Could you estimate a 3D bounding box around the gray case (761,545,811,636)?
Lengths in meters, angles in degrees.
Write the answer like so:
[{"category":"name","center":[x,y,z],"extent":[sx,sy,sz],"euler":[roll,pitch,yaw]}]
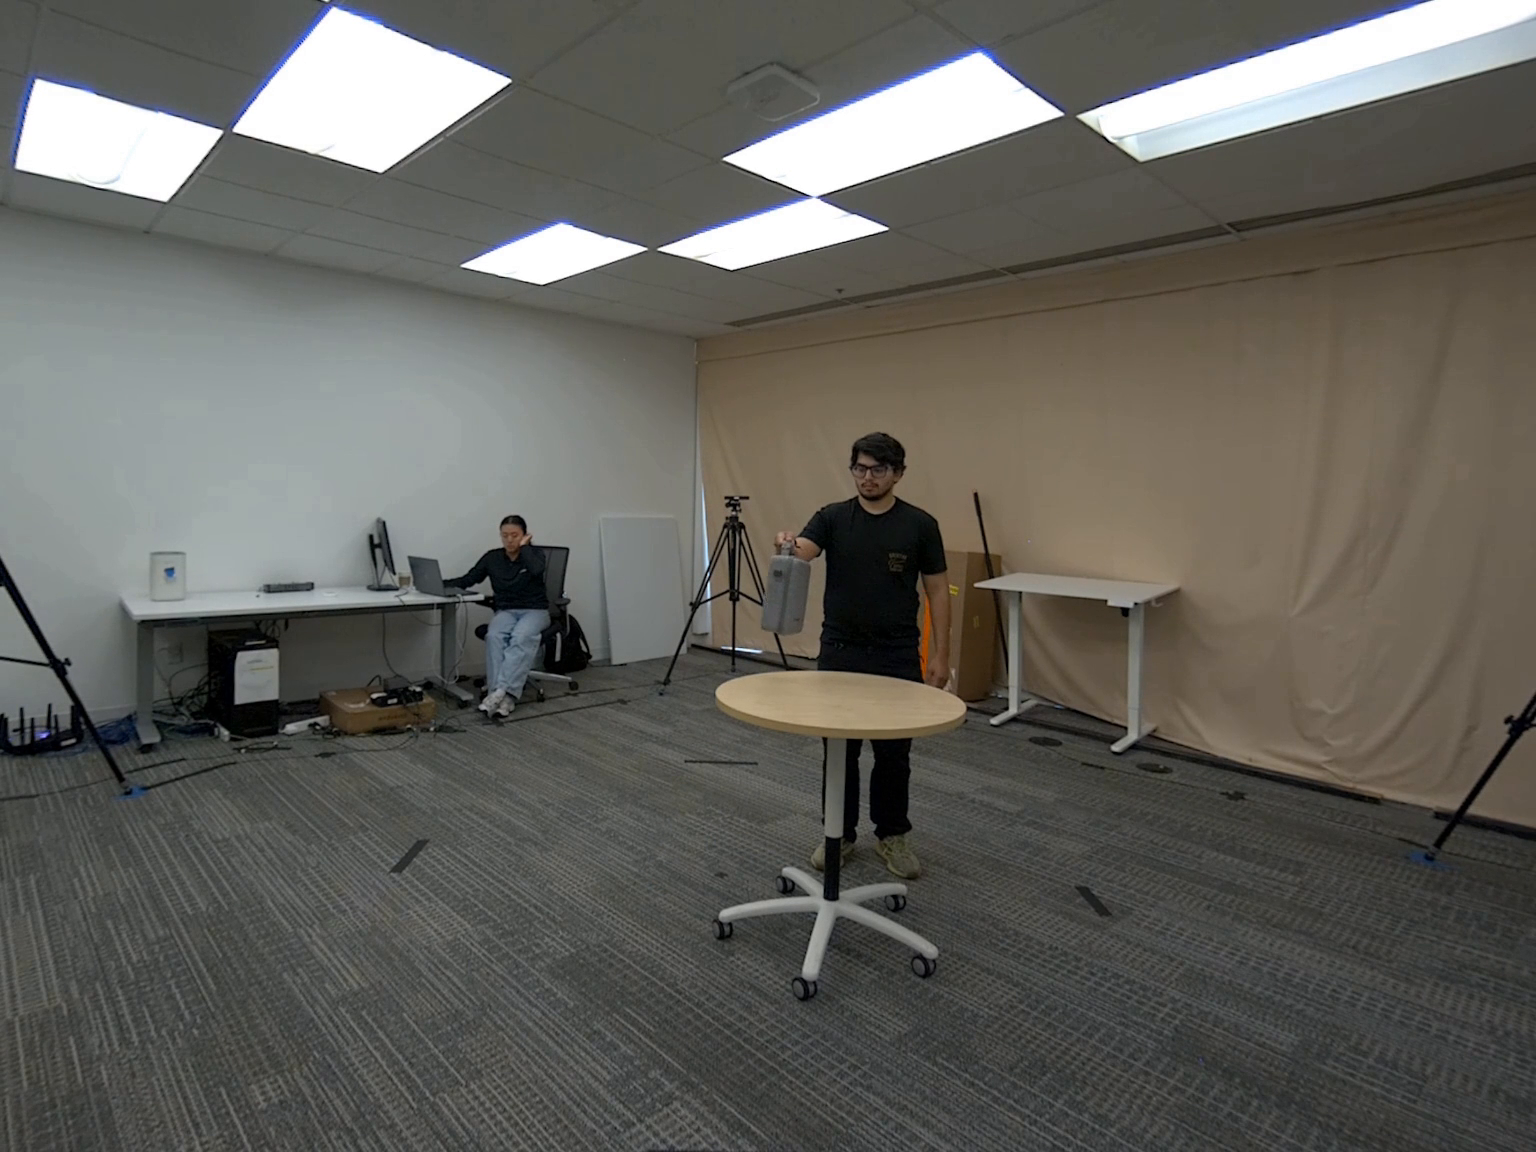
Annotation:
[{"category":"gray case","center":[0.053,0.061,2.788],"extent":[0.105,0.261,0.253],"euler":[5,-3,14]}]
